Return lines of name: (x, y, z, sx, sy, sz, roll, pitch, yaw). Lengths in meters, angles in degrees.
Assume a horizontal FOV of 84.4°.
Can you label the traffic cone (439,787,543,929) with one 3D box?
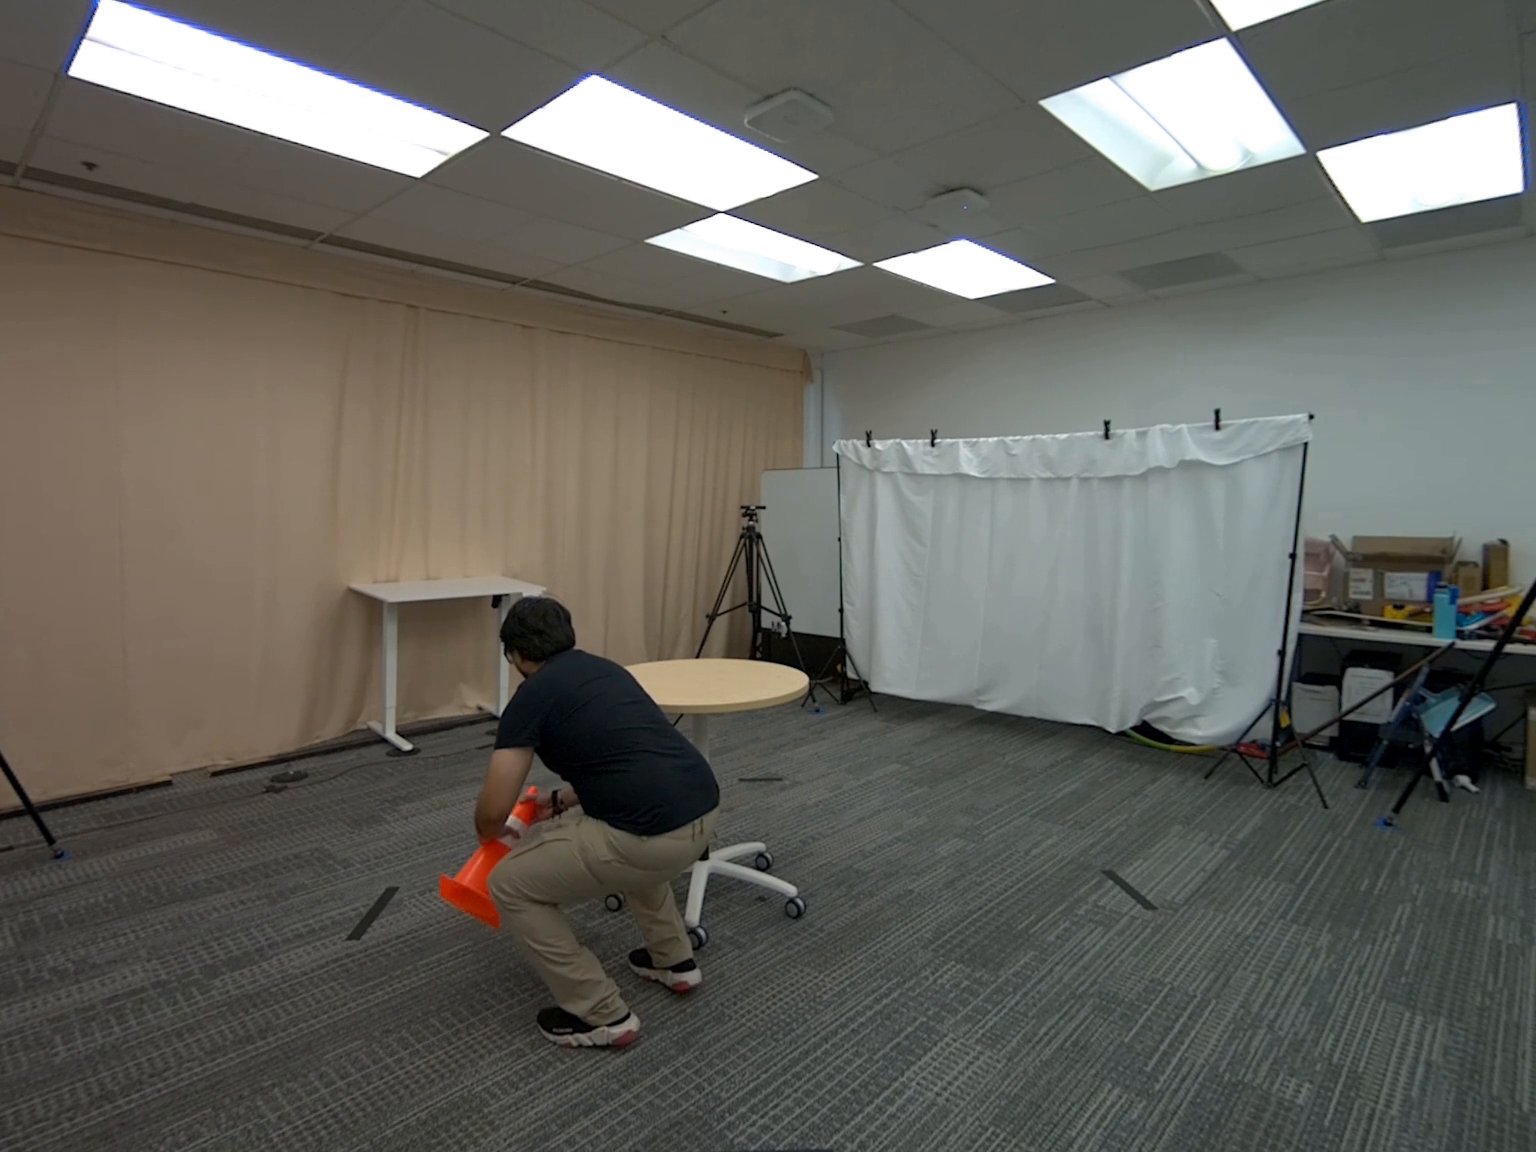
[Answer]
traffic cone: (-0.775, 0.814, 2.492, 0.203, 0.205, 0.384, 29, 45, -2)
